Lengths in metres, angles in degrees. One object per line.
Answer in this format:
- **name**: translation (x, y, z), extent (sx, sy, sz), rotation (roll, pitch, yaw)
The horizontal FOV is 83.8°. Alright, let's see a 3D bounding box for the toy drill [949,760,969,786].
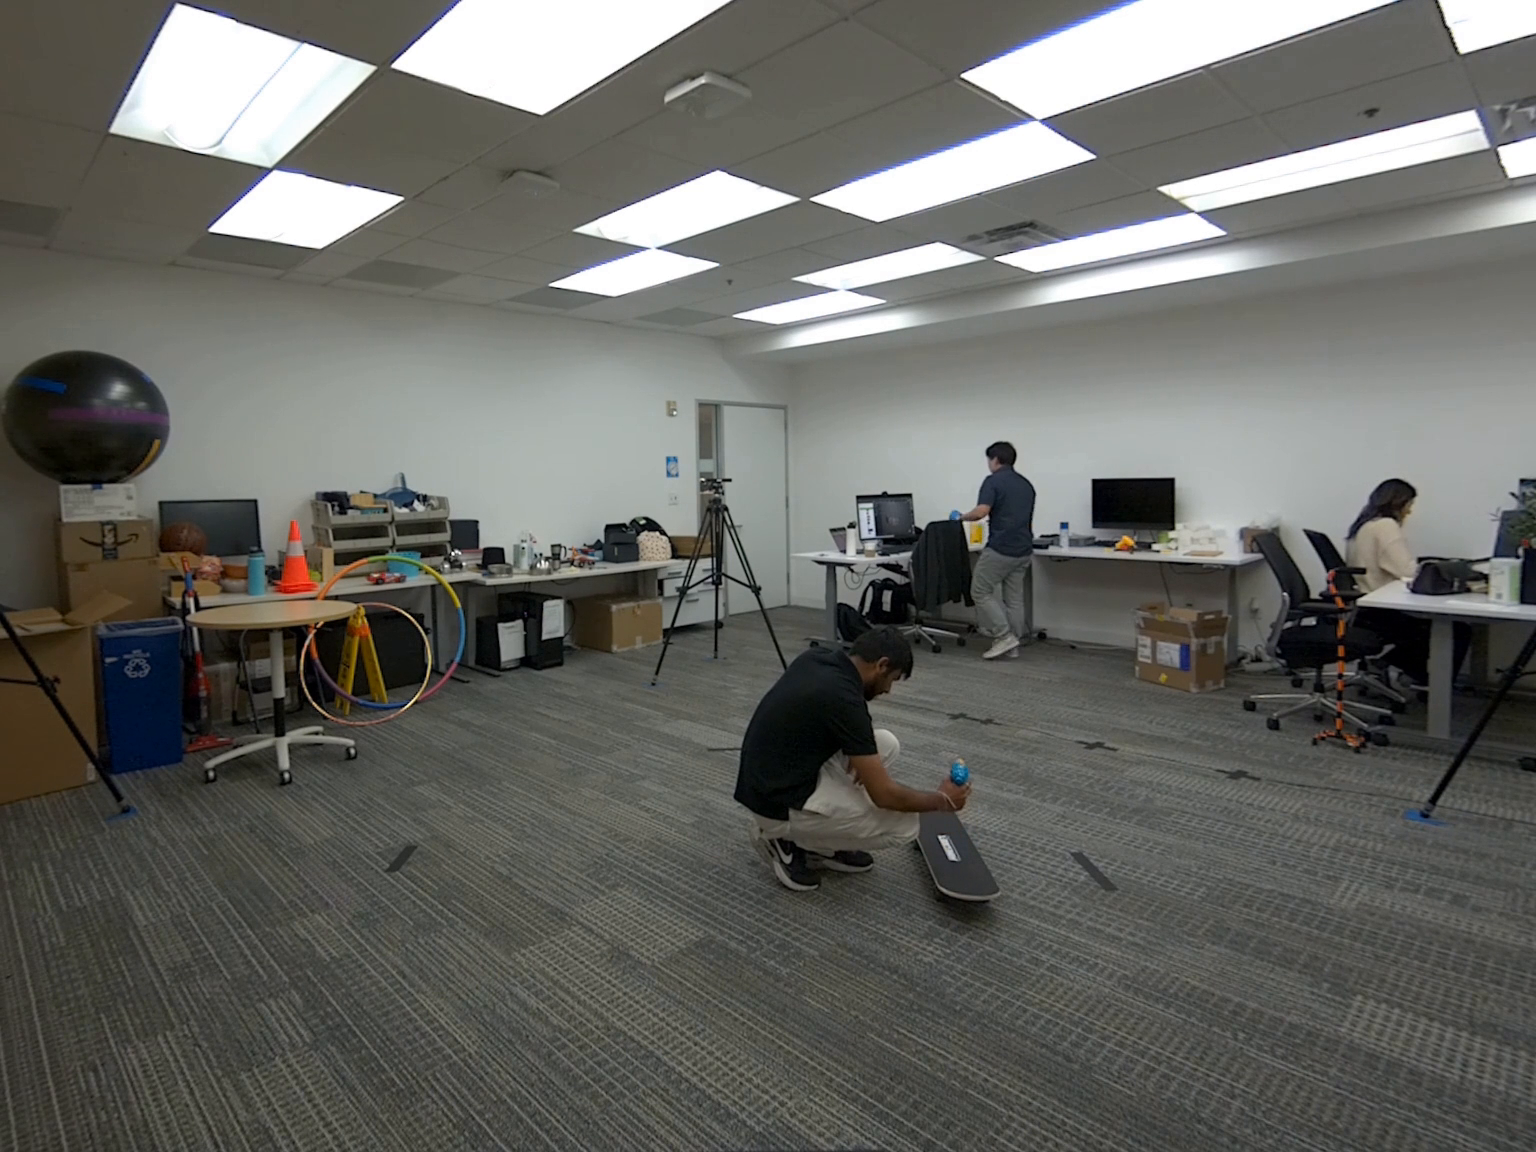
- **toy drill**: translation (0.657, 0.711, 2.980), extent (0.062, 0.145, 0.170), rotation (16, 14, 7)
